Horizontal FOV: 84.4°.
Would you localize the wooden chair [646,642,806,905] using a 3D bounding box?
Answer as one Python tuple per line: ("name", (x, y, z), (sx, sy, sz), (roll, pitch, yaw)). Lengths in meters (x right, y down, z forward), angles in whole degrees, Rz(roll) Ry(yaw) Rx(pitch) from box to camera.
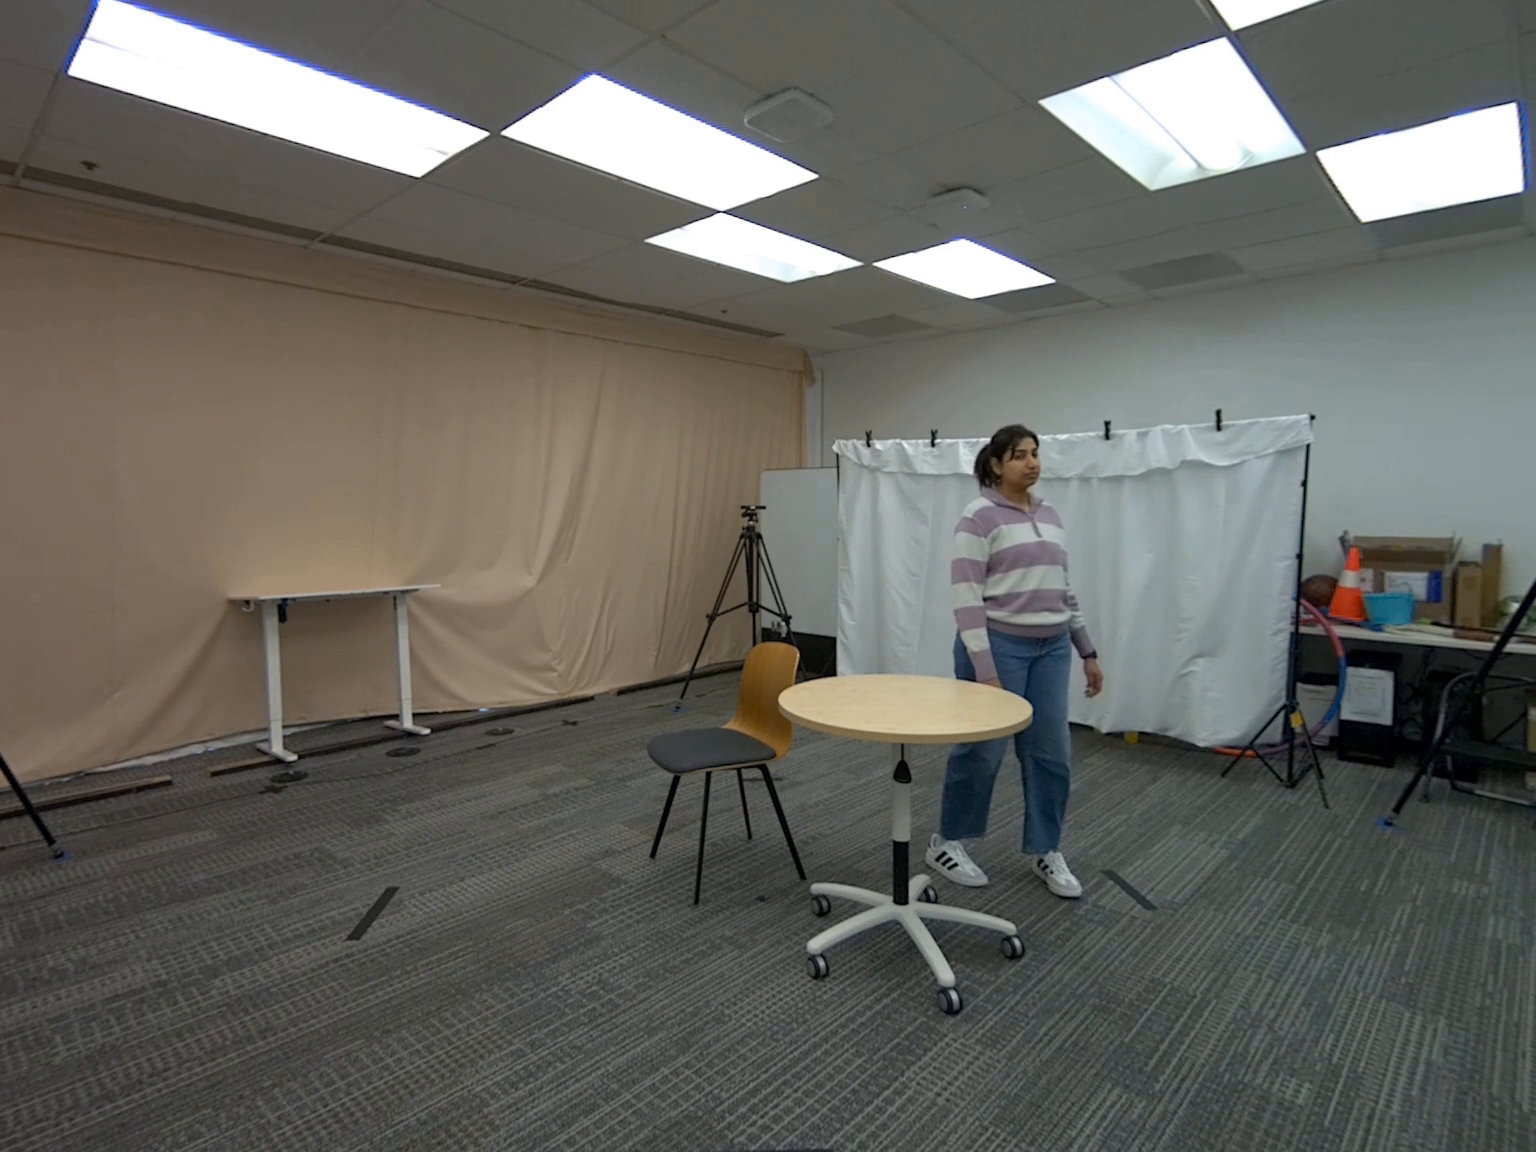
("wooden chair", (-0.172, 0.701, 3.206), (0.509, 0.876, 0.491), (3, 2, -27))
